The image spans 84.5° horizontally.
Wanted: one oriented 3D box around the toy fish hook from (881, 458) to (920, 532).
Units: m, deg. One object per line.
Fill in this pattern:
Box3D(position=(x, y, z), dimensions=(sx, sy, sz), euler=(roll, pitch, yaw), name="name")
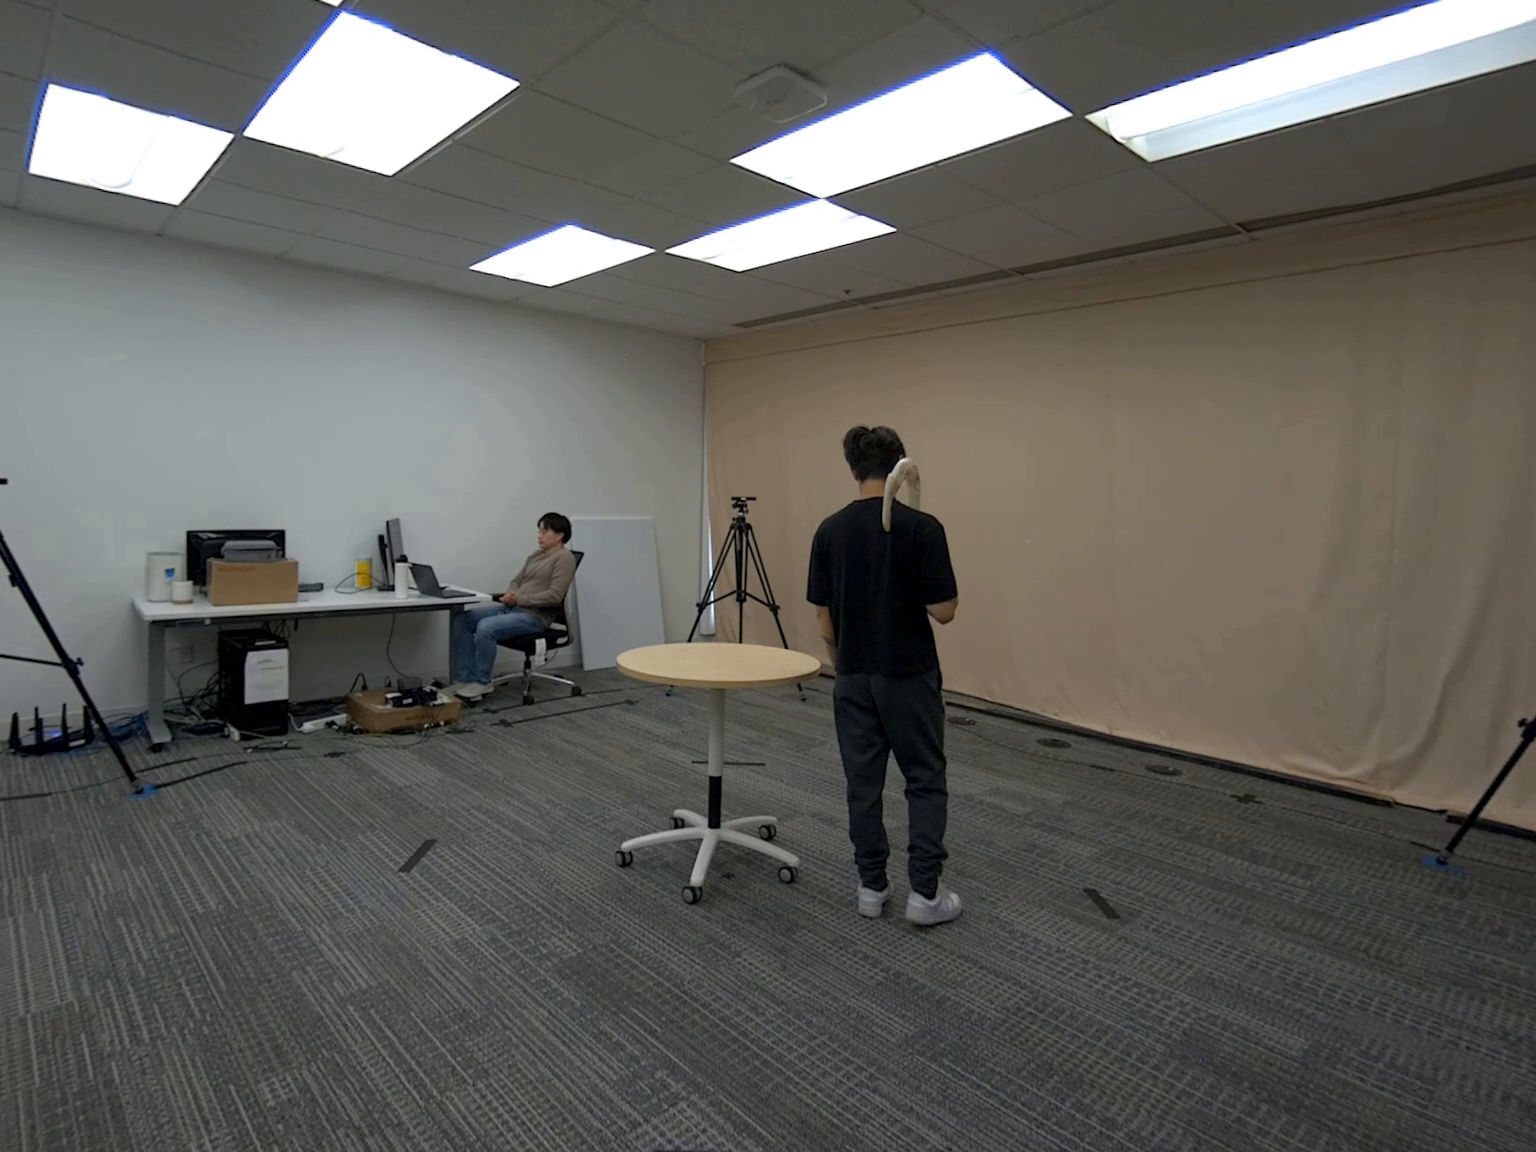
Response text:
Box3D(position=(0.450, -0.160, 2.789), dimensions=(0.050, 0.493, 0.224), euler=(18, 51, 36), name="toy fish hook")
